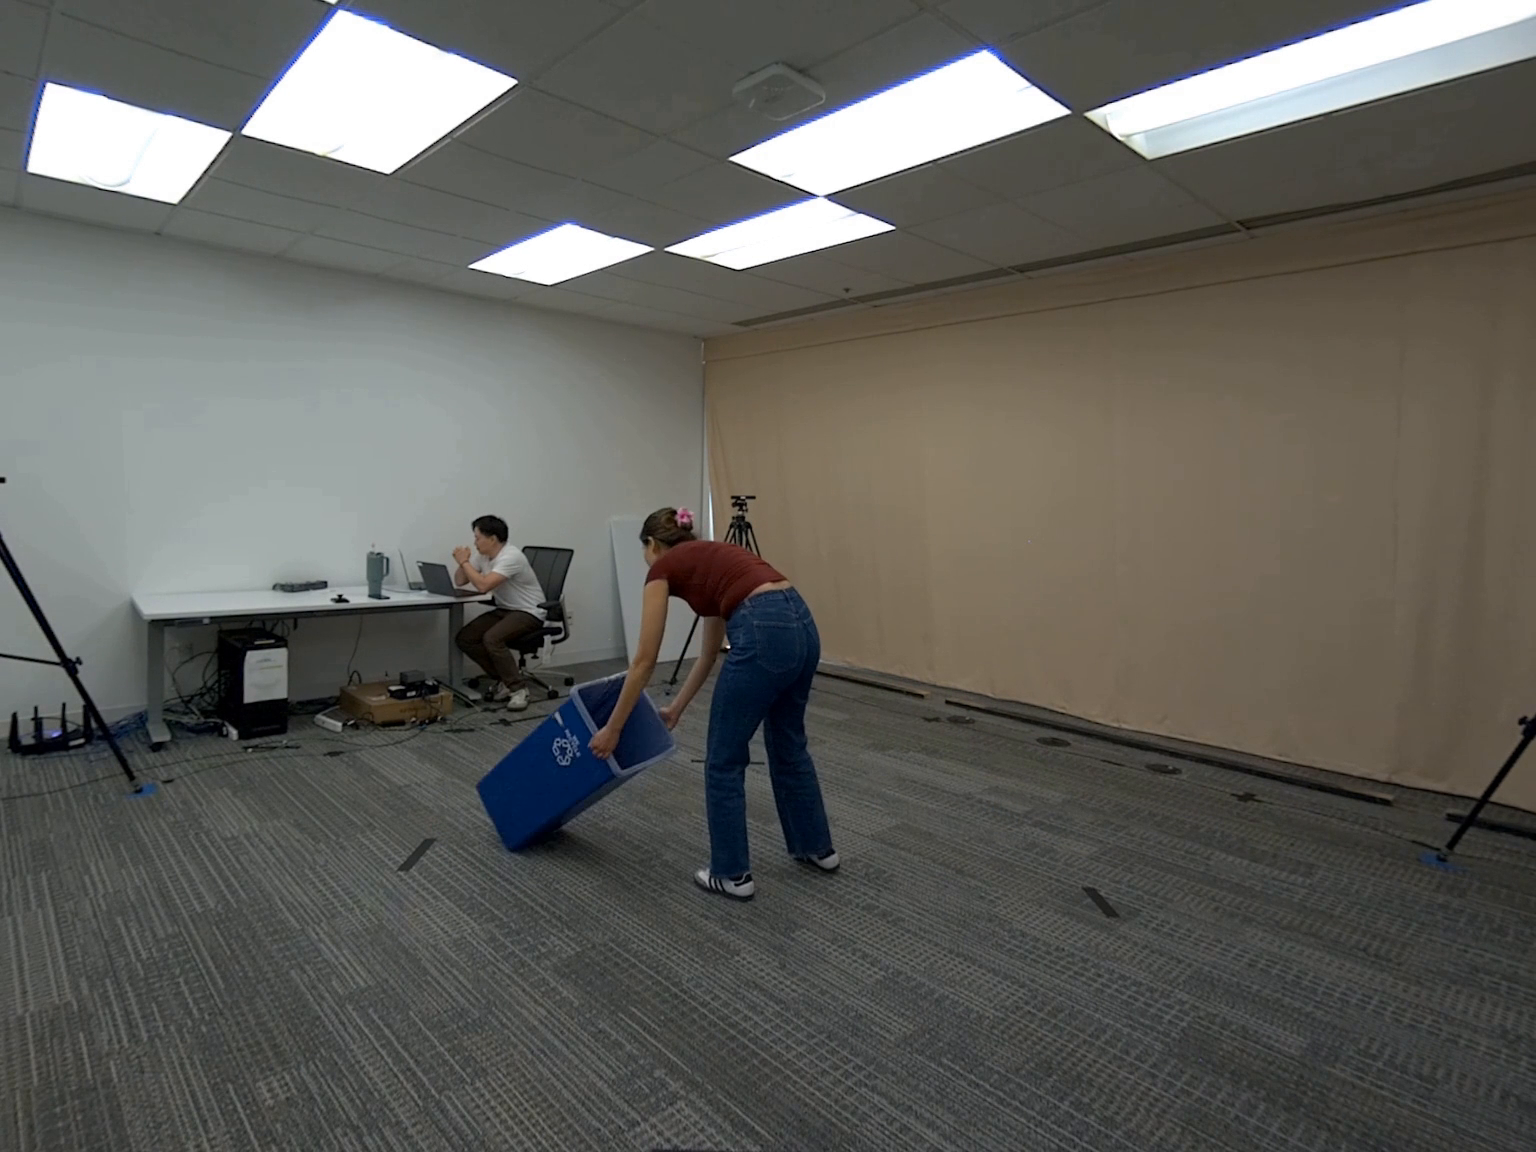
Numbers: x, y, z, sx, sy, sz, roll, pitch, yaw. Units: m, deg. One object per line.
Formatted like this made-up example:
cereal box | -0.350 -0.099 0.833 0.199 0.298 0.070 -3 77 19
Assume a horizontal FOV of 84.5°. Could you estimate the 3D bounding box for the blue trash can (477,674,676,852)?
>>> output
blue trash can | -0.750 0.735 3.267 0.715 0.380 0.371 -41 -16 26
